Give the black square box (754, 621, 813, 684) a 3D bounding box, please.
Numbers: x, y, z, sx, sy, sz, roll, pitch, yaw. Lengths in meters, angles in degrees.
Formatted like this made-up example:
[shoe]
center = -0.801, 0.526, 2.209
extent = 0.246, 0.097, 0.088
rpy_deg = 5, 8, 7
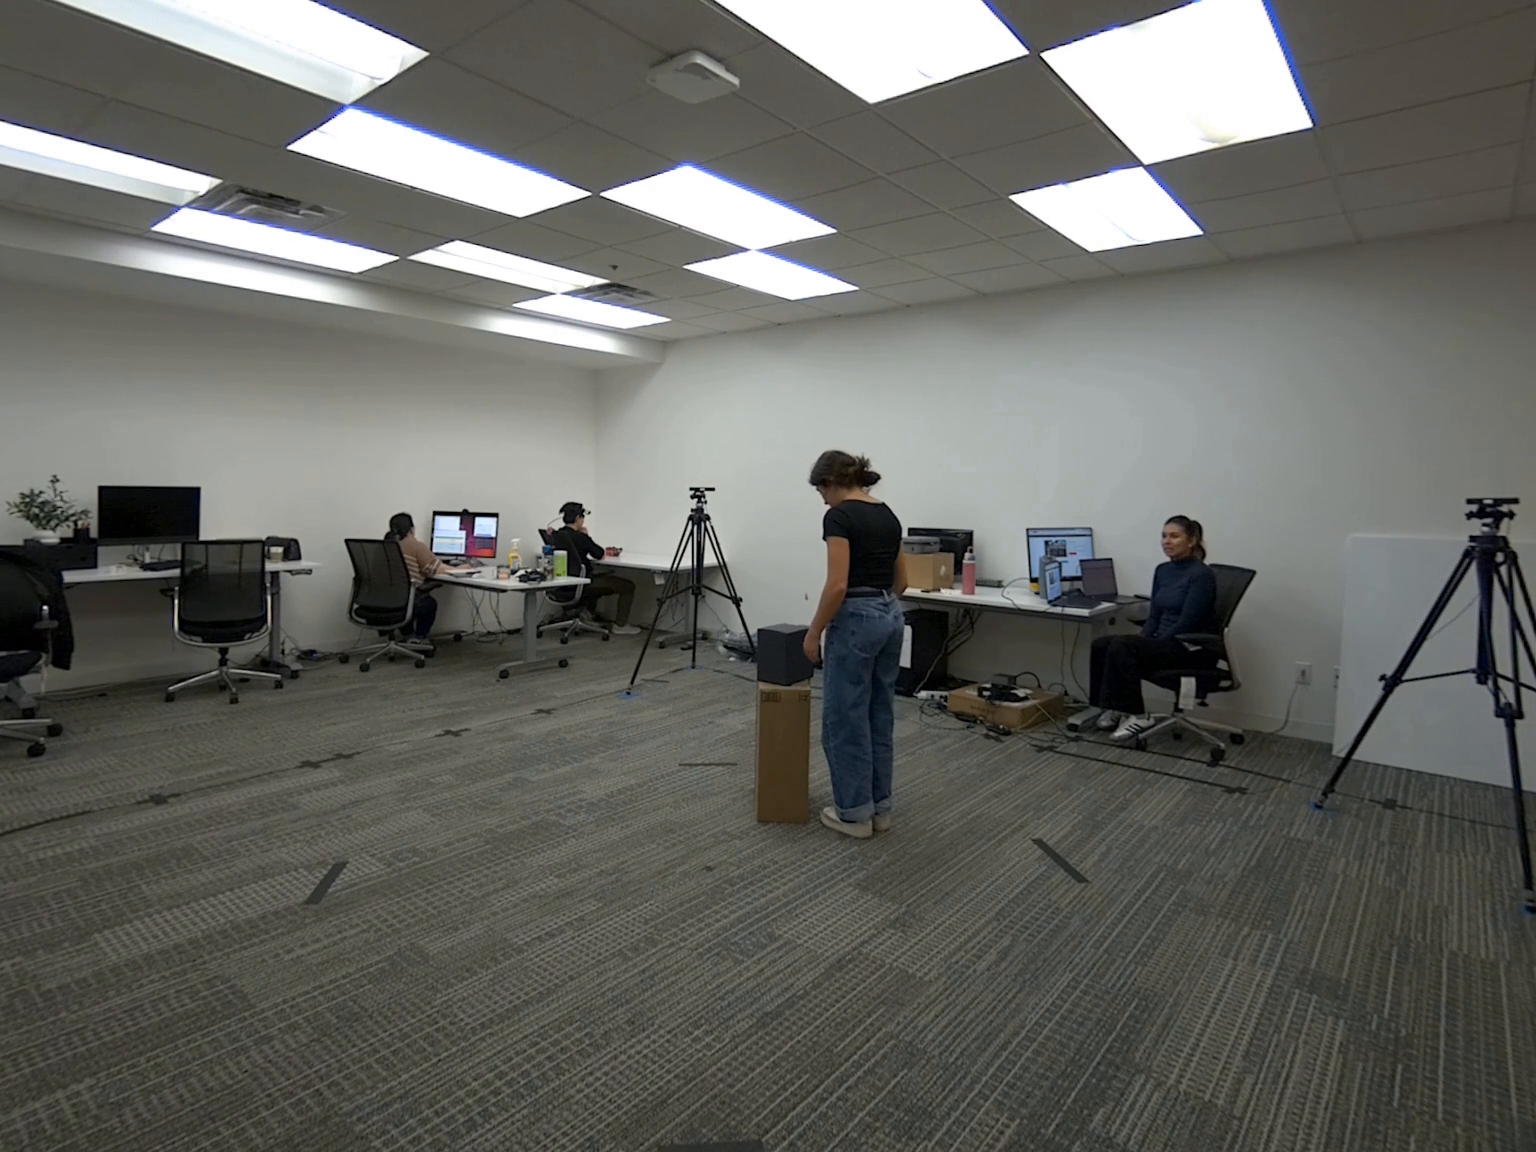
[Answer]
[black square box]
center = 0.069, 0.330, 3.709
extent = 0.161, 0.227, 0.211
rpy_deg = 3, 5, 37
